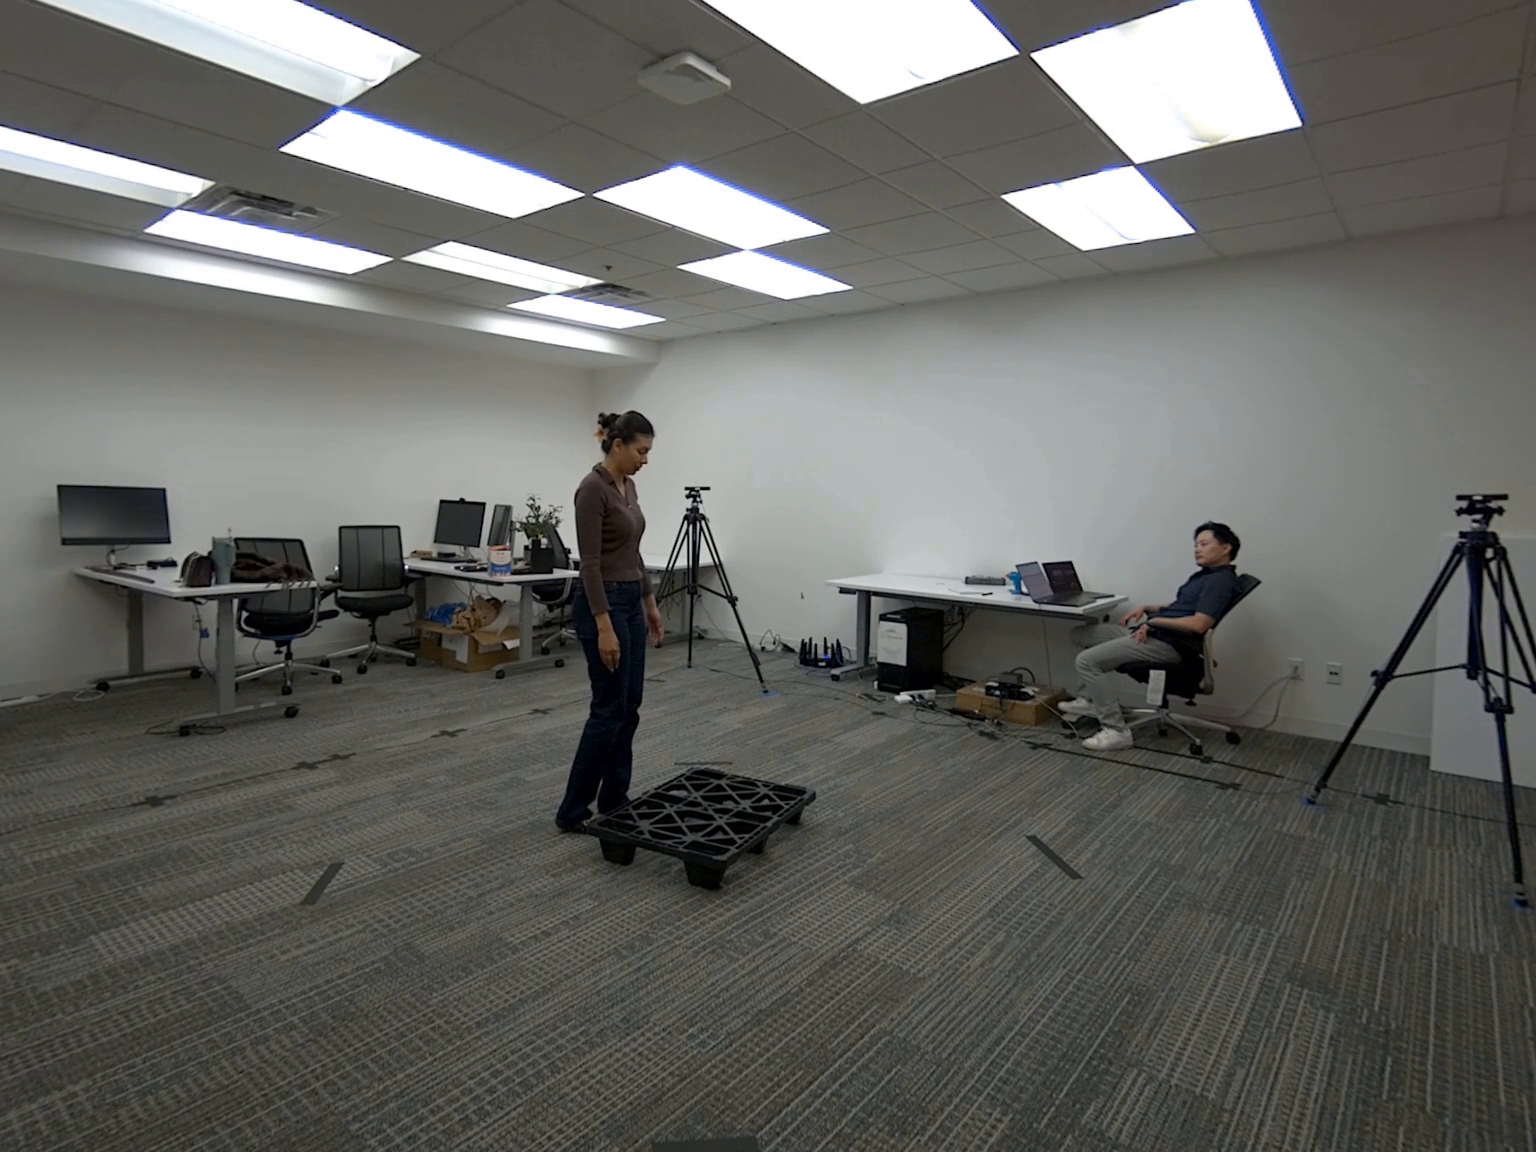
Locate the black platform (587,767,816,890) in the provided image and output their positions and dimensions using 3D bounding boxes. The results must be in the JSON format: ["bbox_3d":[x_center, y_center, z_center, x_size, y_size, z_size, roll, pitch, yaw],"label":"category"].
[{"bbox_3d":[-0.241,0.973,3.358,0.622,0.143,0.786,4,7,28],"label":"black platform"}]
